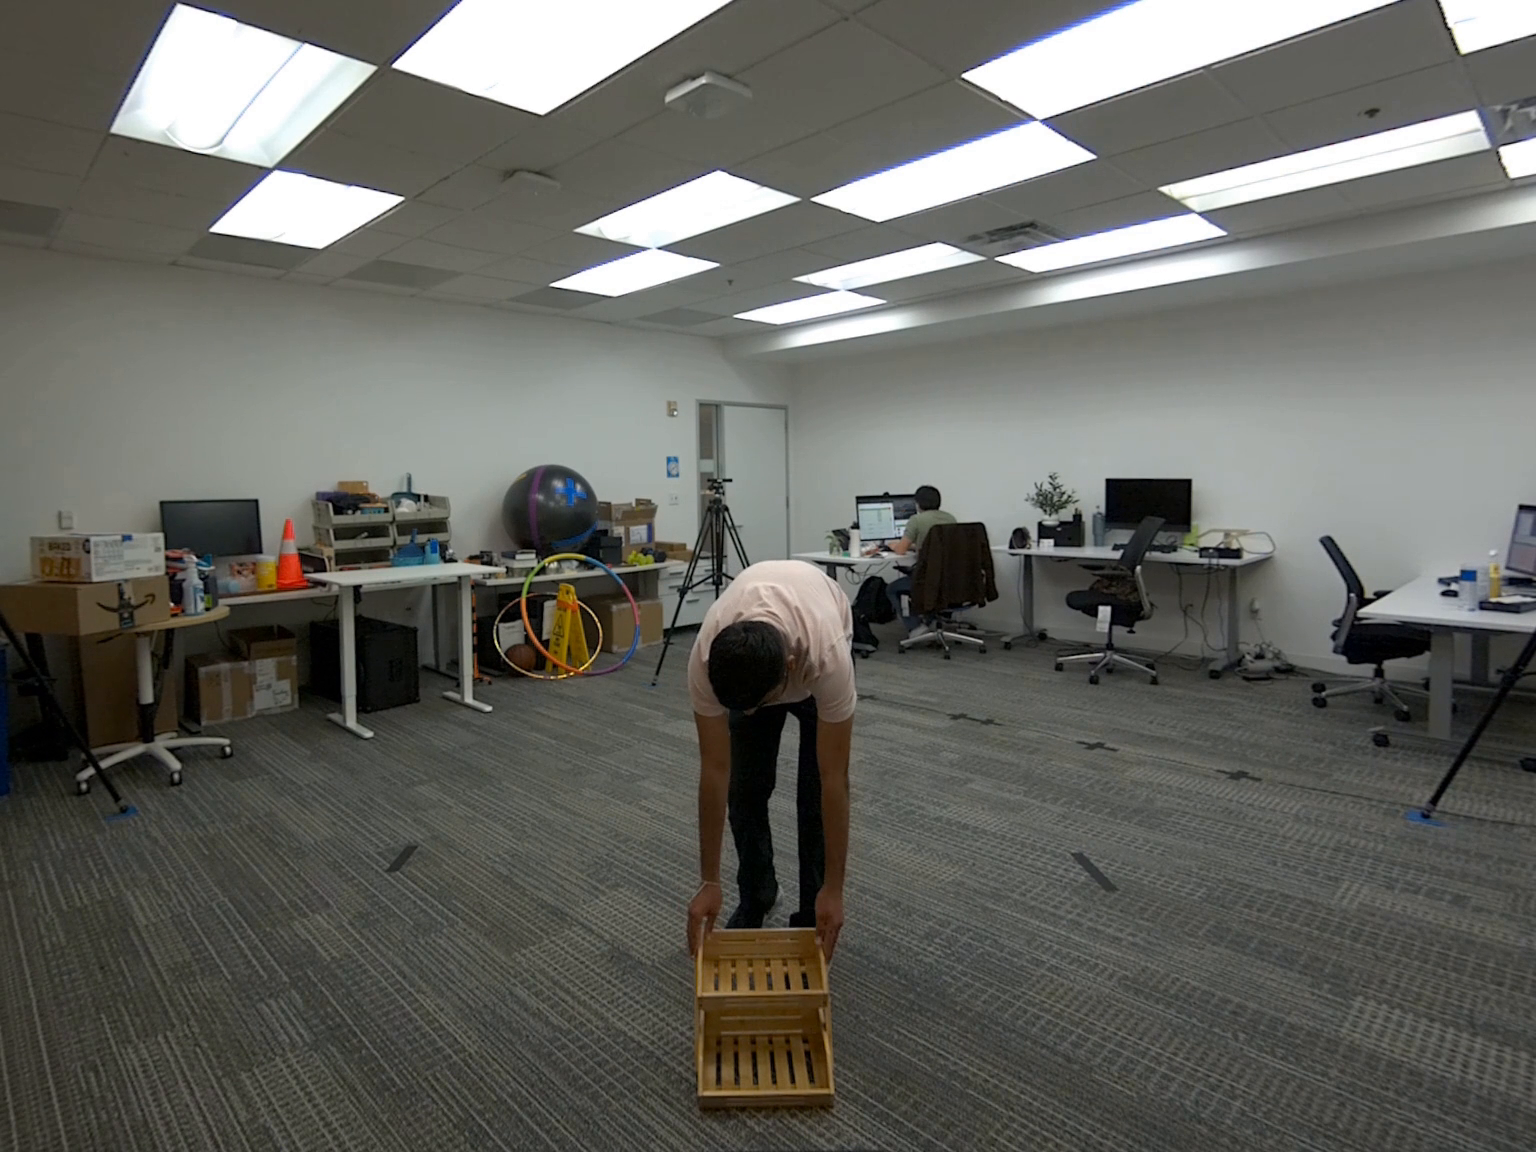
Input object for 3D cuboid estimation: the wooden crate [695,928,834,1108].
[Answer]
[{"bbox_3d":[-0.004,1.043,2.020,0.324,0.272,0.303,-1,5,-2],"label":"wooden crate"}]
